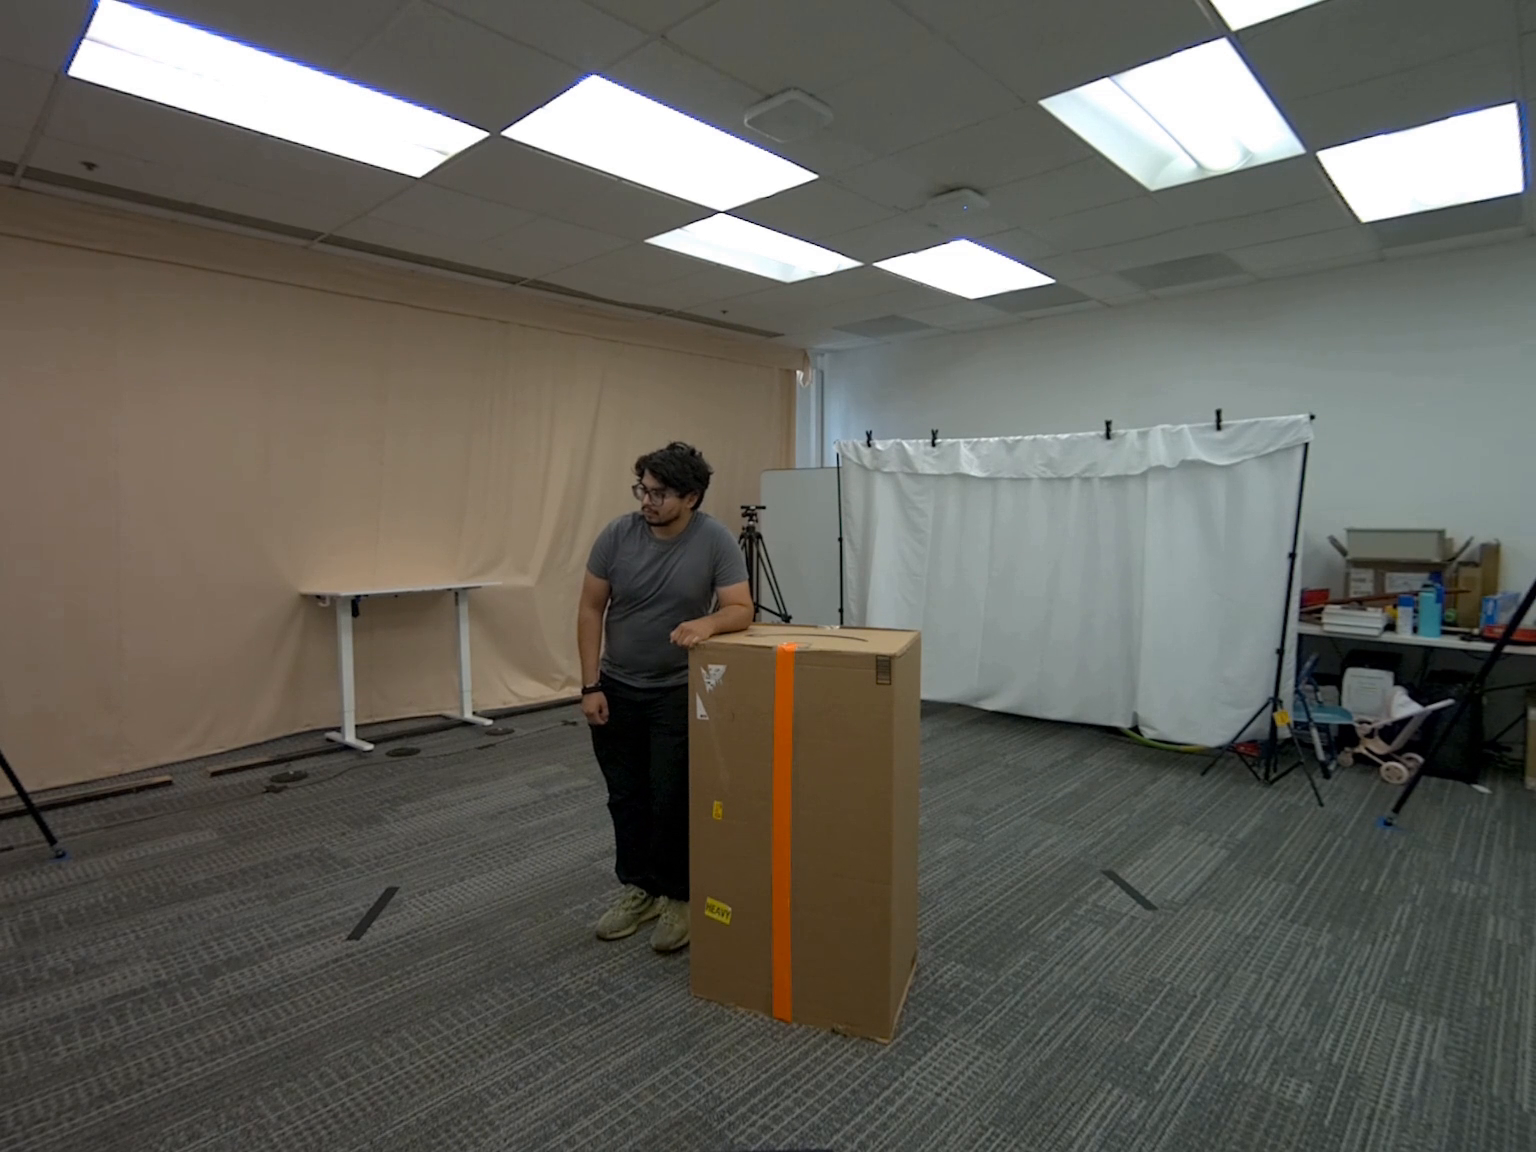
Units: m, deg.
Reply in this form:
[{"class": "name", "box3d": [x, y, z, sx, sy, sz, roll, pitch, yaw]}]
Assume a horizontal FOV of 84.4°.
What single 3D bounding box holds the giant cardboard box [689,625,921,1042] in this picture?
[{"class": "giant cardboard box", "box3d": [0.126, 0.683, 2.442, 0.591, 1.024, 0.417, 1, 3, 23]}]
